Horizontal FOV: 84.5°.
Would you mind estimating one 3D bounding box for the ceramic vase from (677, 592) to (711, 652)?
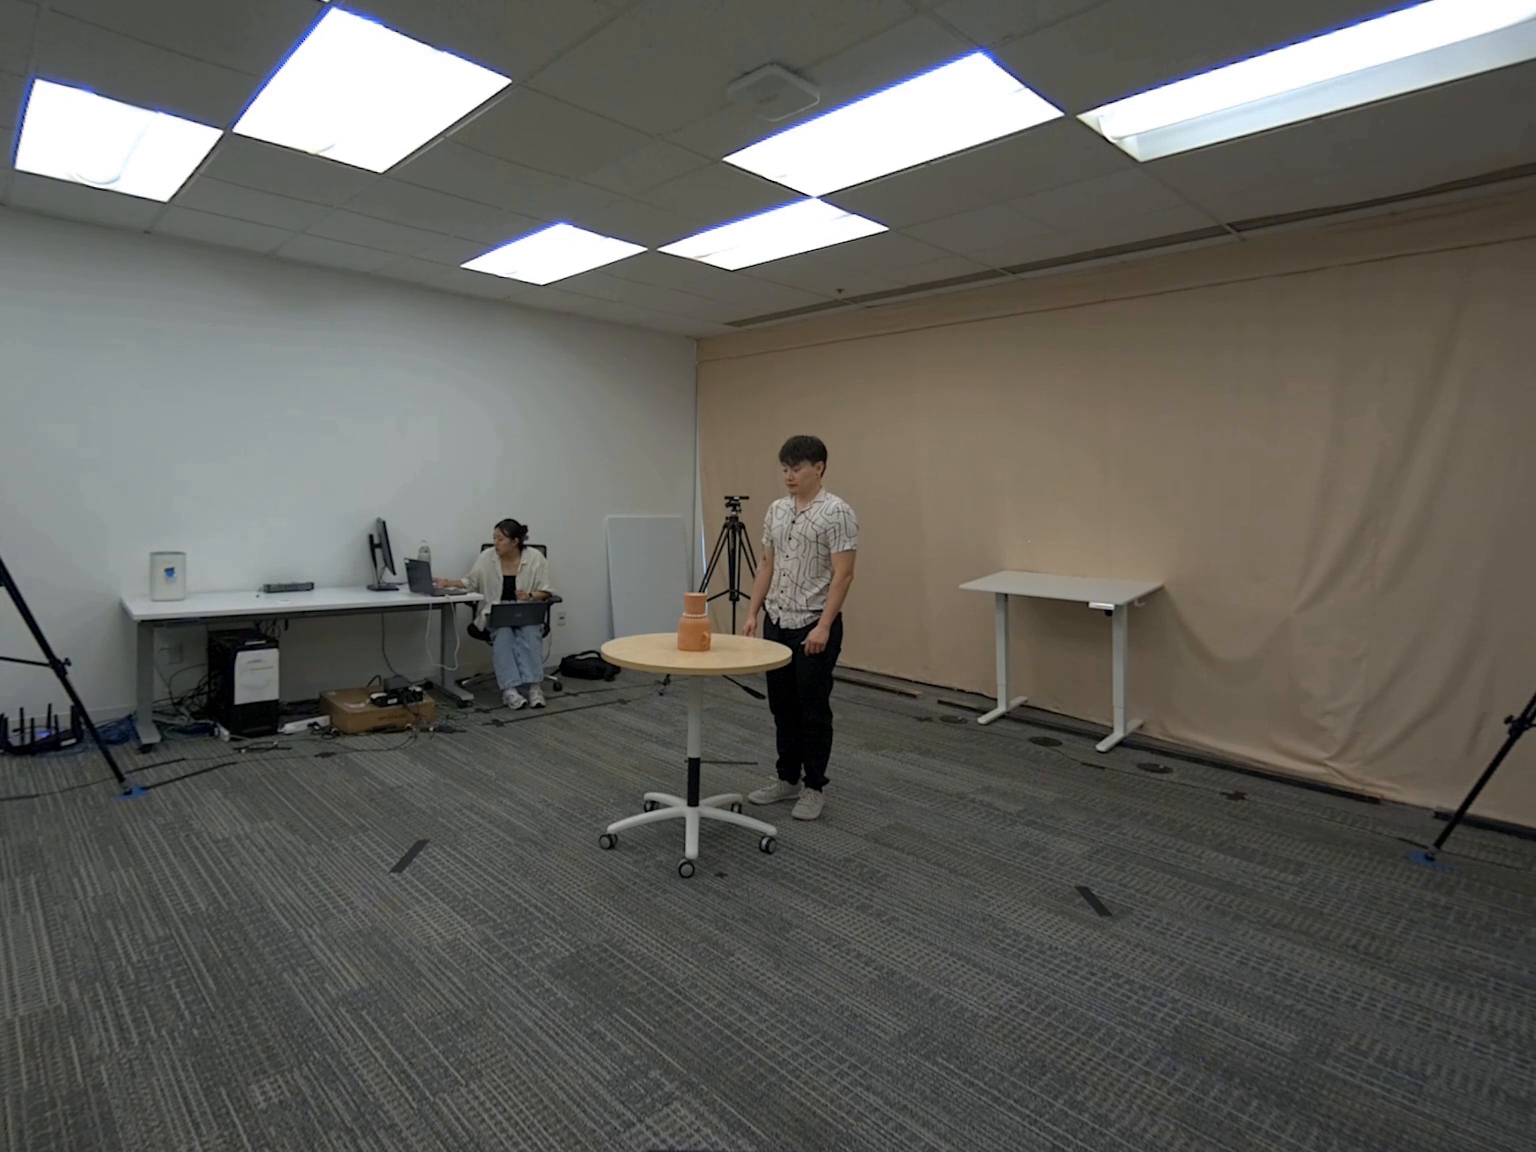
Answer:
[{"bbox_3d":[-0.295,0.181,3.373,0.160,0.219,0.134,3,5,9],"label":"ceramic vase"}]
